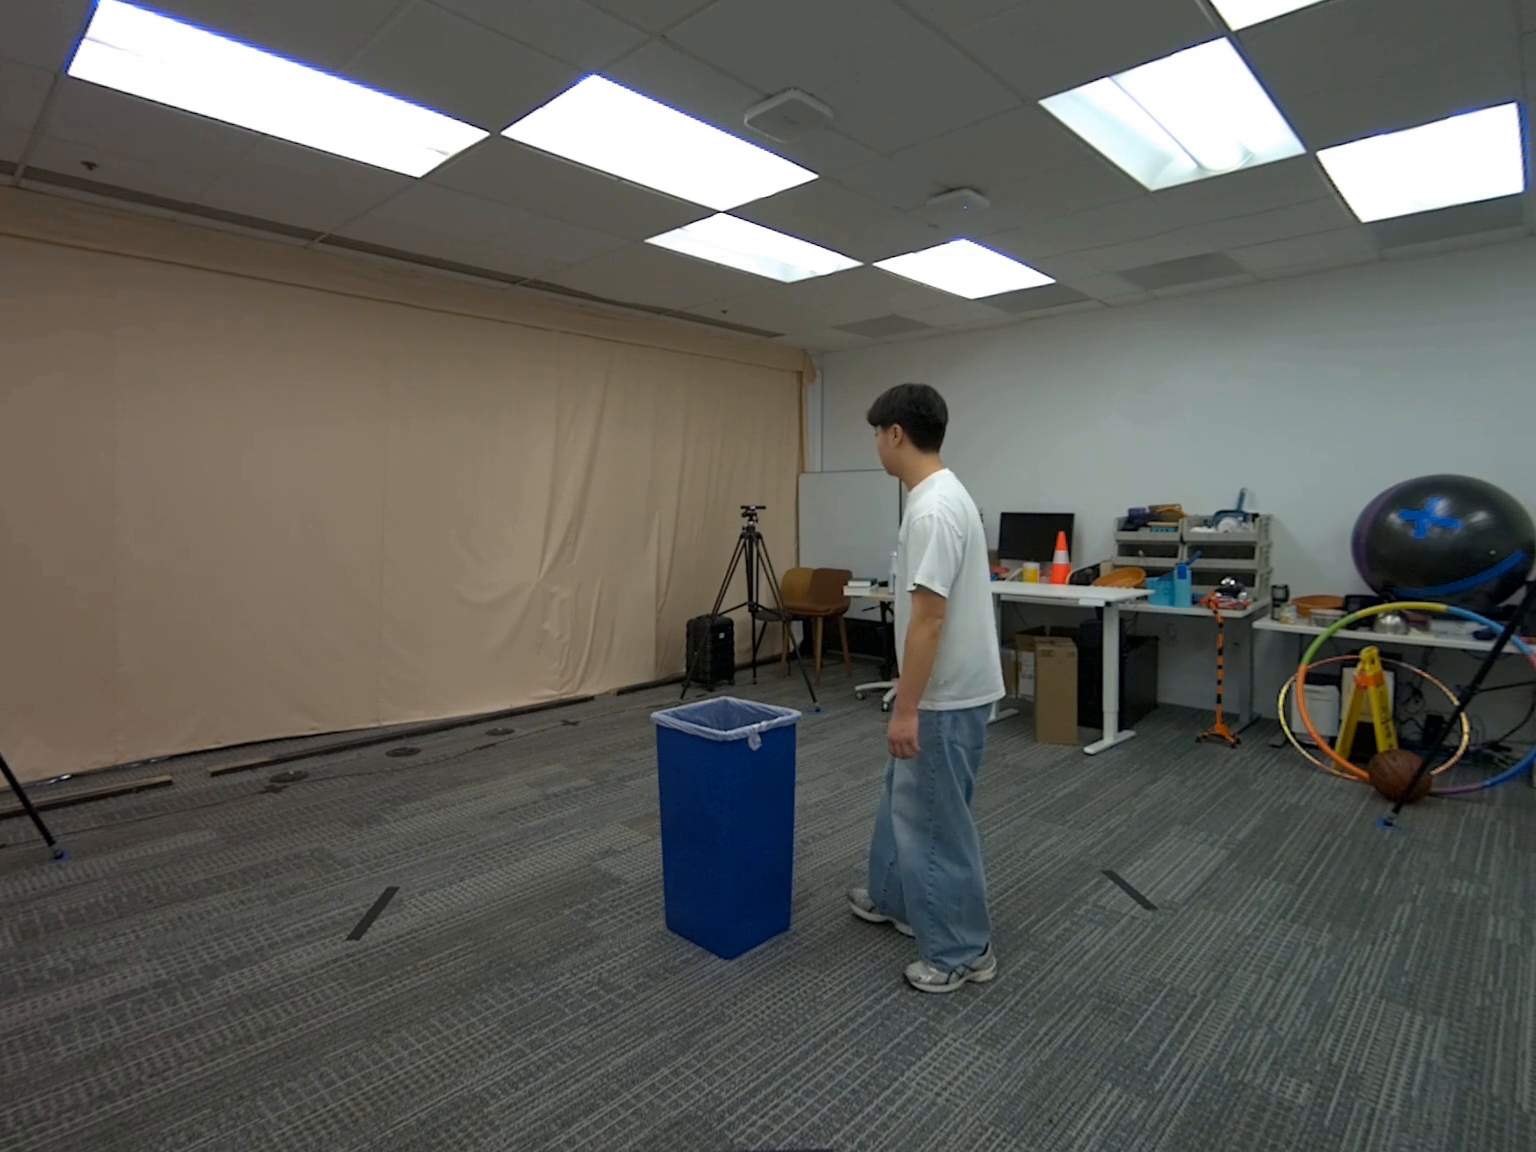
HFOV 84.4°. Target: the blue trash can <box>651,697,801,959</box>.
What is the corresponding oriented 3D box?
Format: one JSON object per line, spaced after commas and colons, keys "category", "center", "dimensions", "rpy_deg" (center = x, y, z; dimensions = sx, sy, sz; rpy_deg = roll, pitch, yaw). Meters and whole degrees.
{"category": "blue trash can", "center": [-0.139, 0.804, 2.768], "dimensions": [0.386, 0.712, 0.366], "rpy_deg": [3, 4, 44]}
